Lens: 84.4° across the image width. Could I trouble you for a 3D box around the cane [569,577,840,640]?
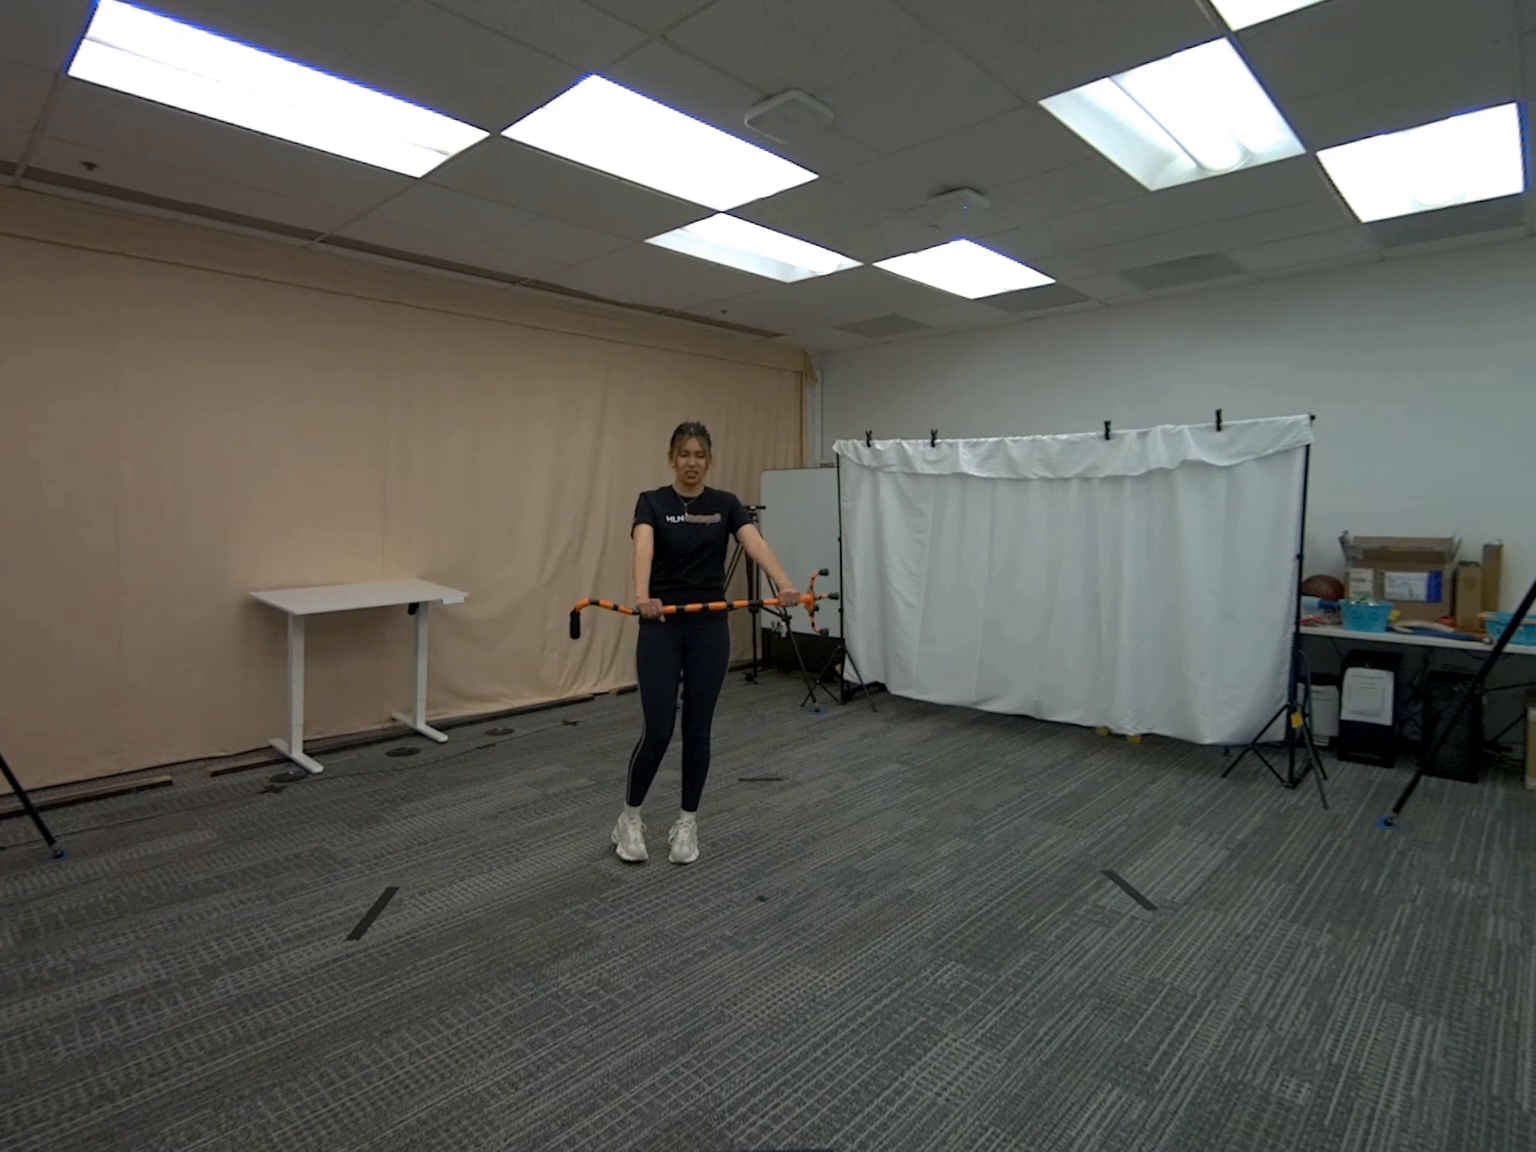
[{"bbox_3d":[-0.222,0.116,2.910,0.897,0.203,0.156,-4,38,-11],"label":"cane"}]
